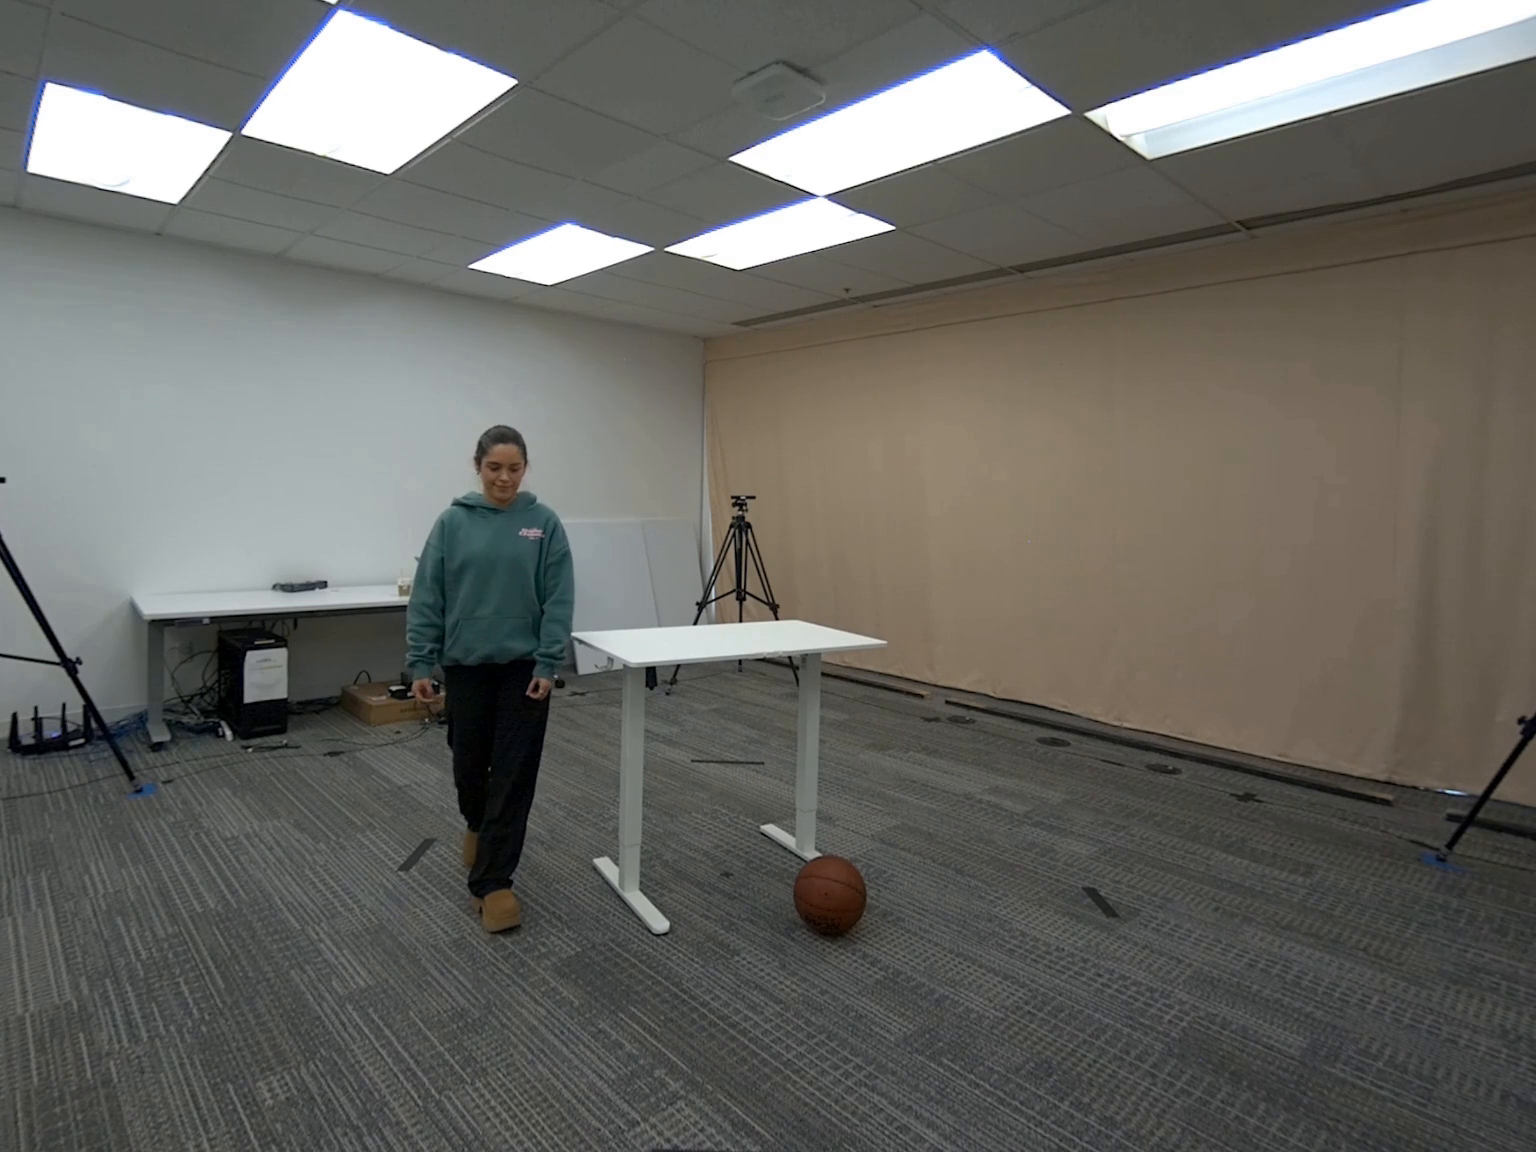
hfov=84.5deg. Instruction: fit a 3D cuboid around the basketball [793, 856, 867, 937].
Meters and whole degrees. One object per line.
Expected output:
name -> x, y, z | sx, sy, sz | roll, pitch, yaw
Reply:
basketball -> 0.194, 1.034, 2.702 | 0.236, 0.235, 0.237 | 1, 4, -1
